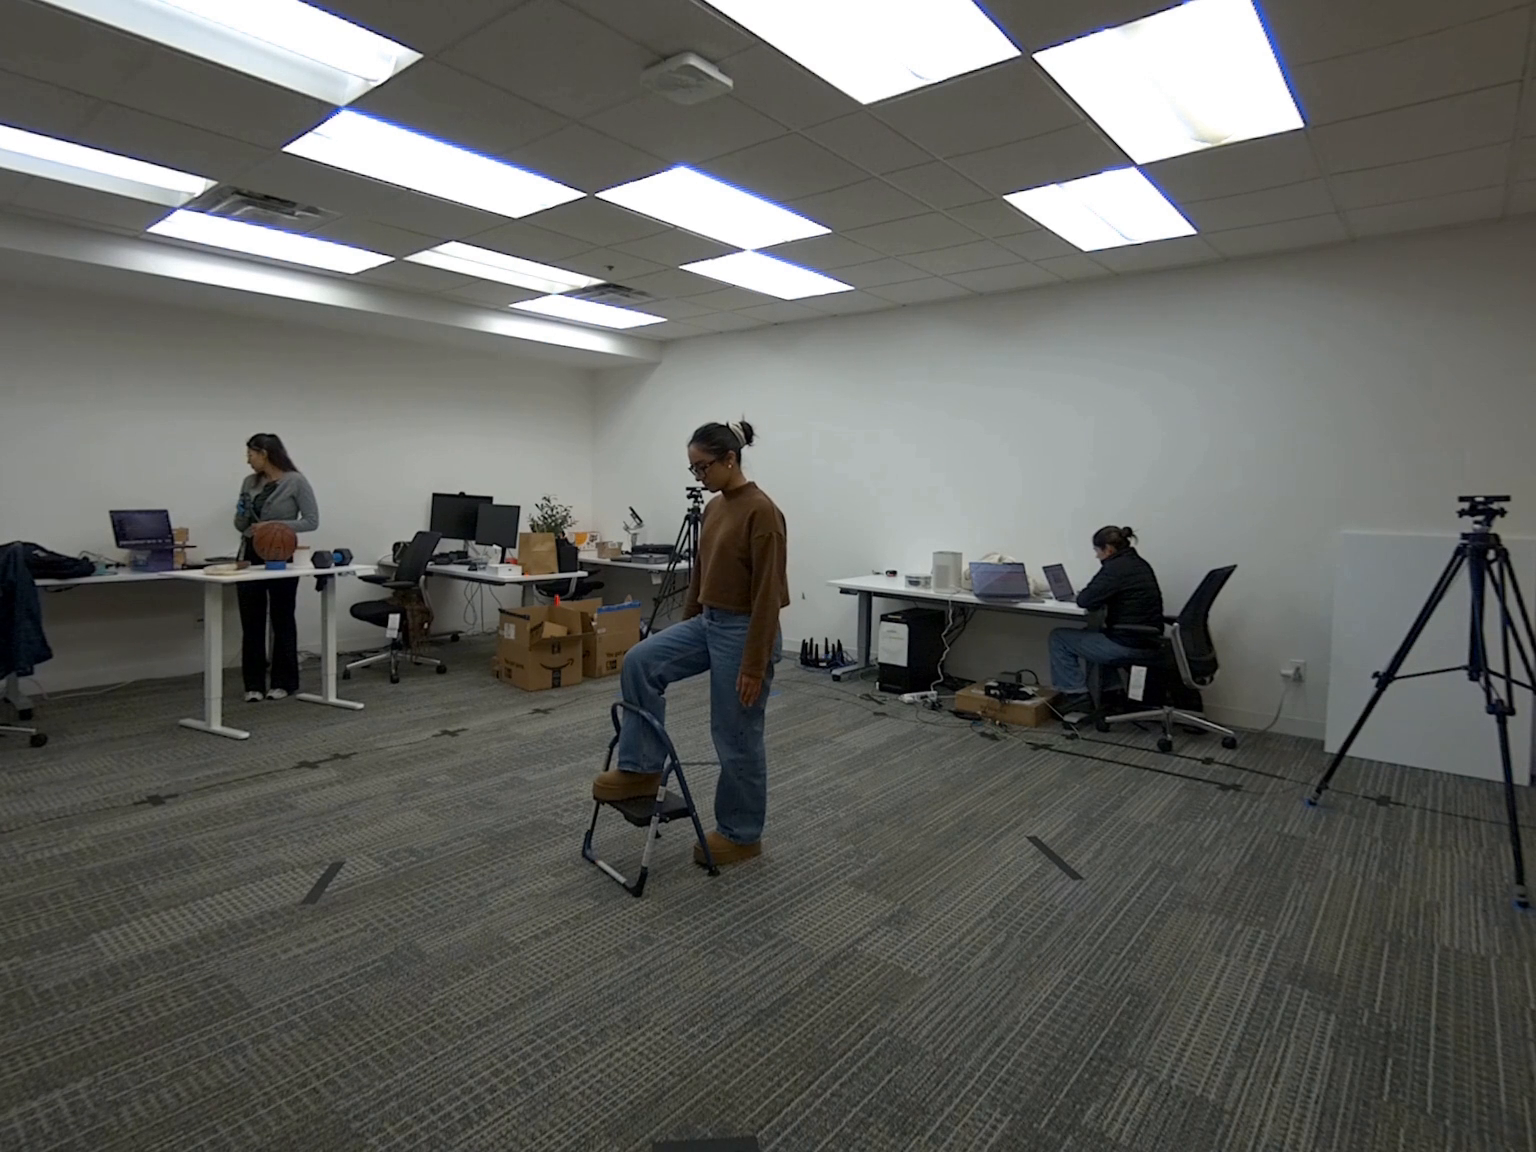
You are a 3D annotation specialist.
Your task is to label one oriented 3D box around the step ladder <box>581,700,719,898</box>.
[{"bbox_3d":[-0.447,0.758,3.116,0.339,0.604,0.445,-2,5,-39],"label":"step ladder"}]
